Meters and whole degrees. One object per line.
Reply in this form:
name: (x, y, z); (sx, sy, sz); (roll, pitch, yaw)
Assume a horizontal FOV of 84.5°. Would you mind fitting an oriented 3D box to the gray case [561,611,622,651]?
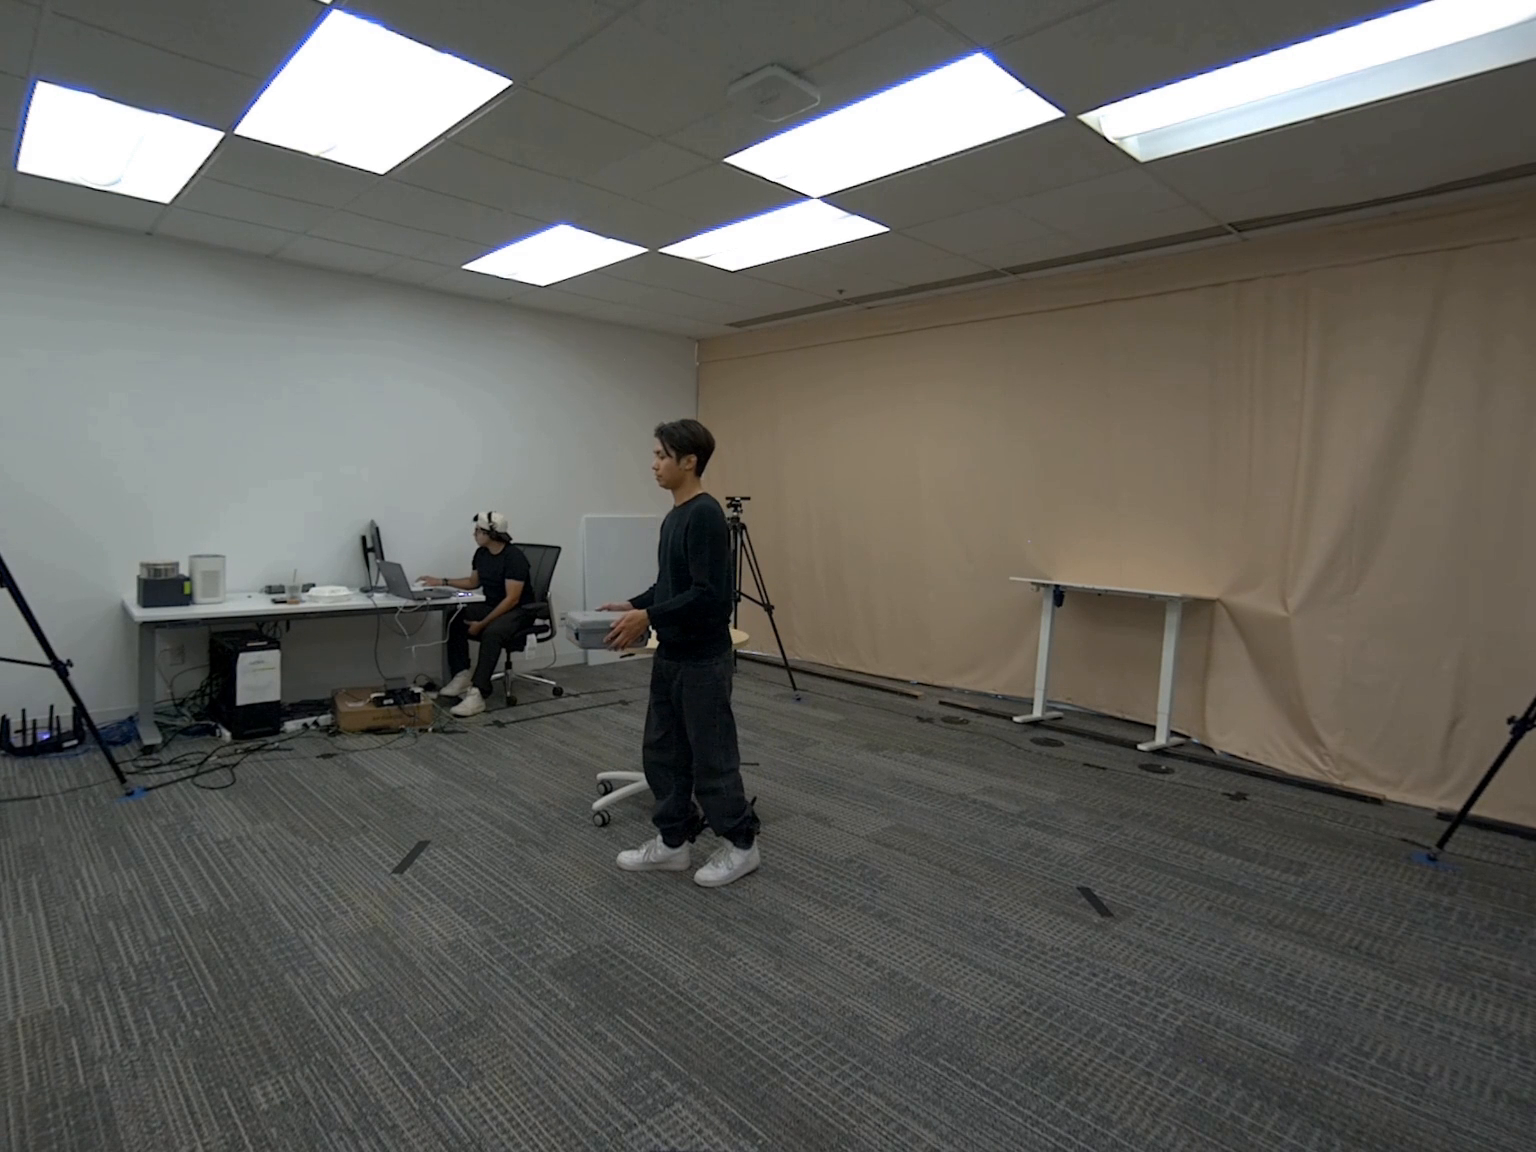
gray case: (-0.572, 0.186, 2.960); (0.256, 0.104, 0.261); (1, 3, -21)
